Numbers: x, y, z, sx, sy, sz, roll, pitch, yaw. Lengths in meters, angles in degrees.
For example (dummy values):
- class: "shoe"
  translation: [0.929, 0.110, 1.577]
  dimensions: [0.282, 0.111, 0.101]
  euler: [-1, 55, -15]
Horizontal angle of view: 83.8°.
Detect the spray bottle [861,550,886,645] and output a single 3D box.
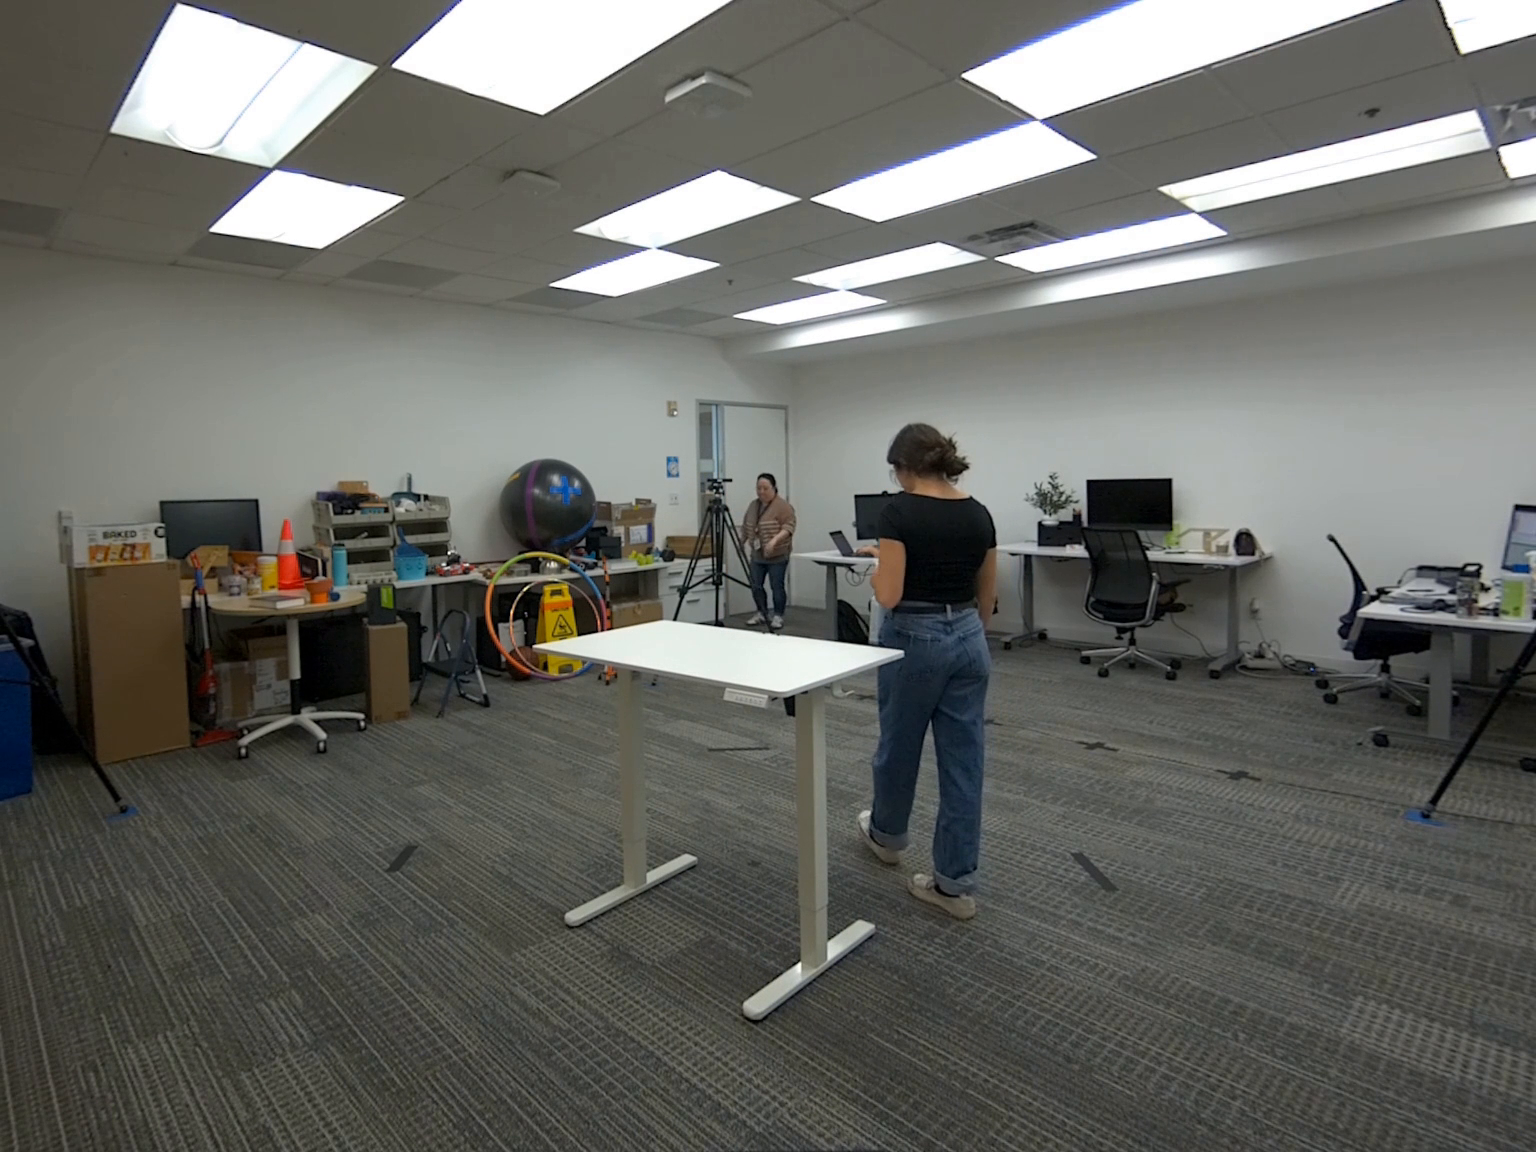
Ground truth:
- class: "spray bottle"
  translation: [0.416, 0.092, 2.942]
  dimensions: [0.085, 0.298, 0.091]
  euler: [4, -2, -20]
